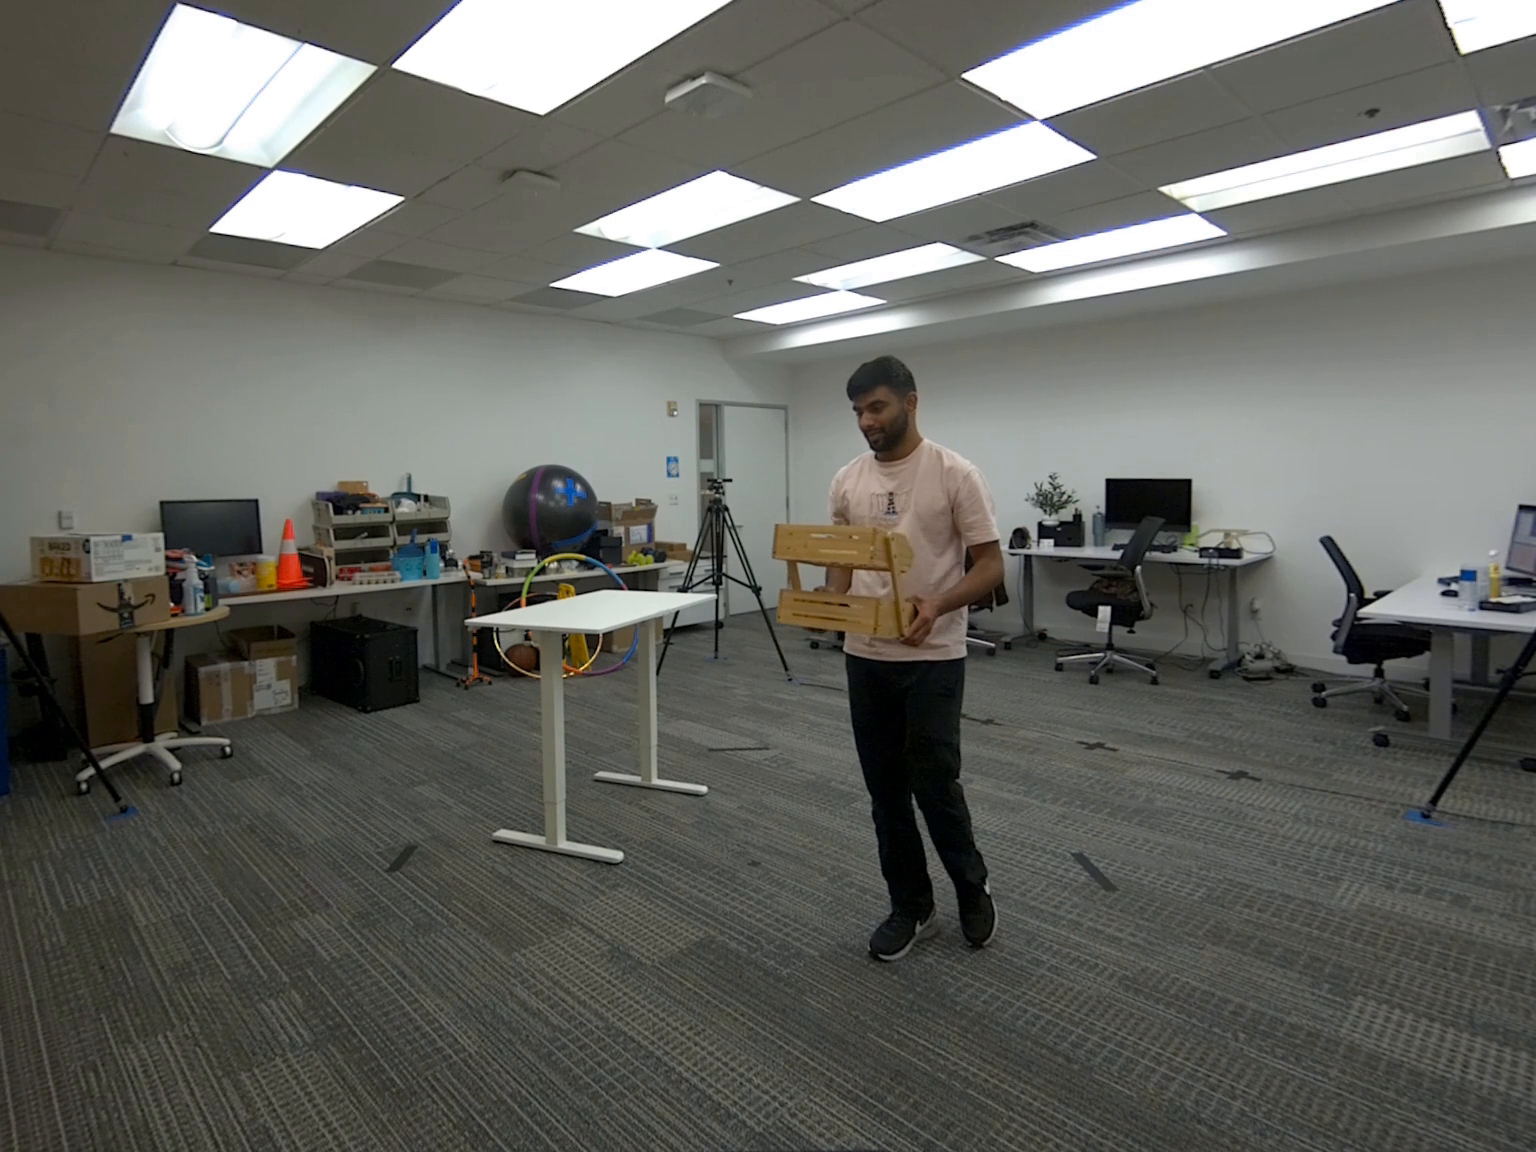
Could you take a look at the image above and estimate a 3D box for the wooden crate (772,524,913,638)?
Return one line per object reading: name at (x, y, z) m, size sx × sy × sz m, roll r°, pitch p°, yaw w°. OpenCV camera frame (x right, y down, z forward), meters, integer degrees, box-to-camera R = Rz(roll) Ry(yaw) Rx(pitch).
wooden crate at (0.227, 0.010, 2.257) m, size 0.334 × 0.274 × 0.292 m, roll 3°, pitch -4°, yaw 39°
